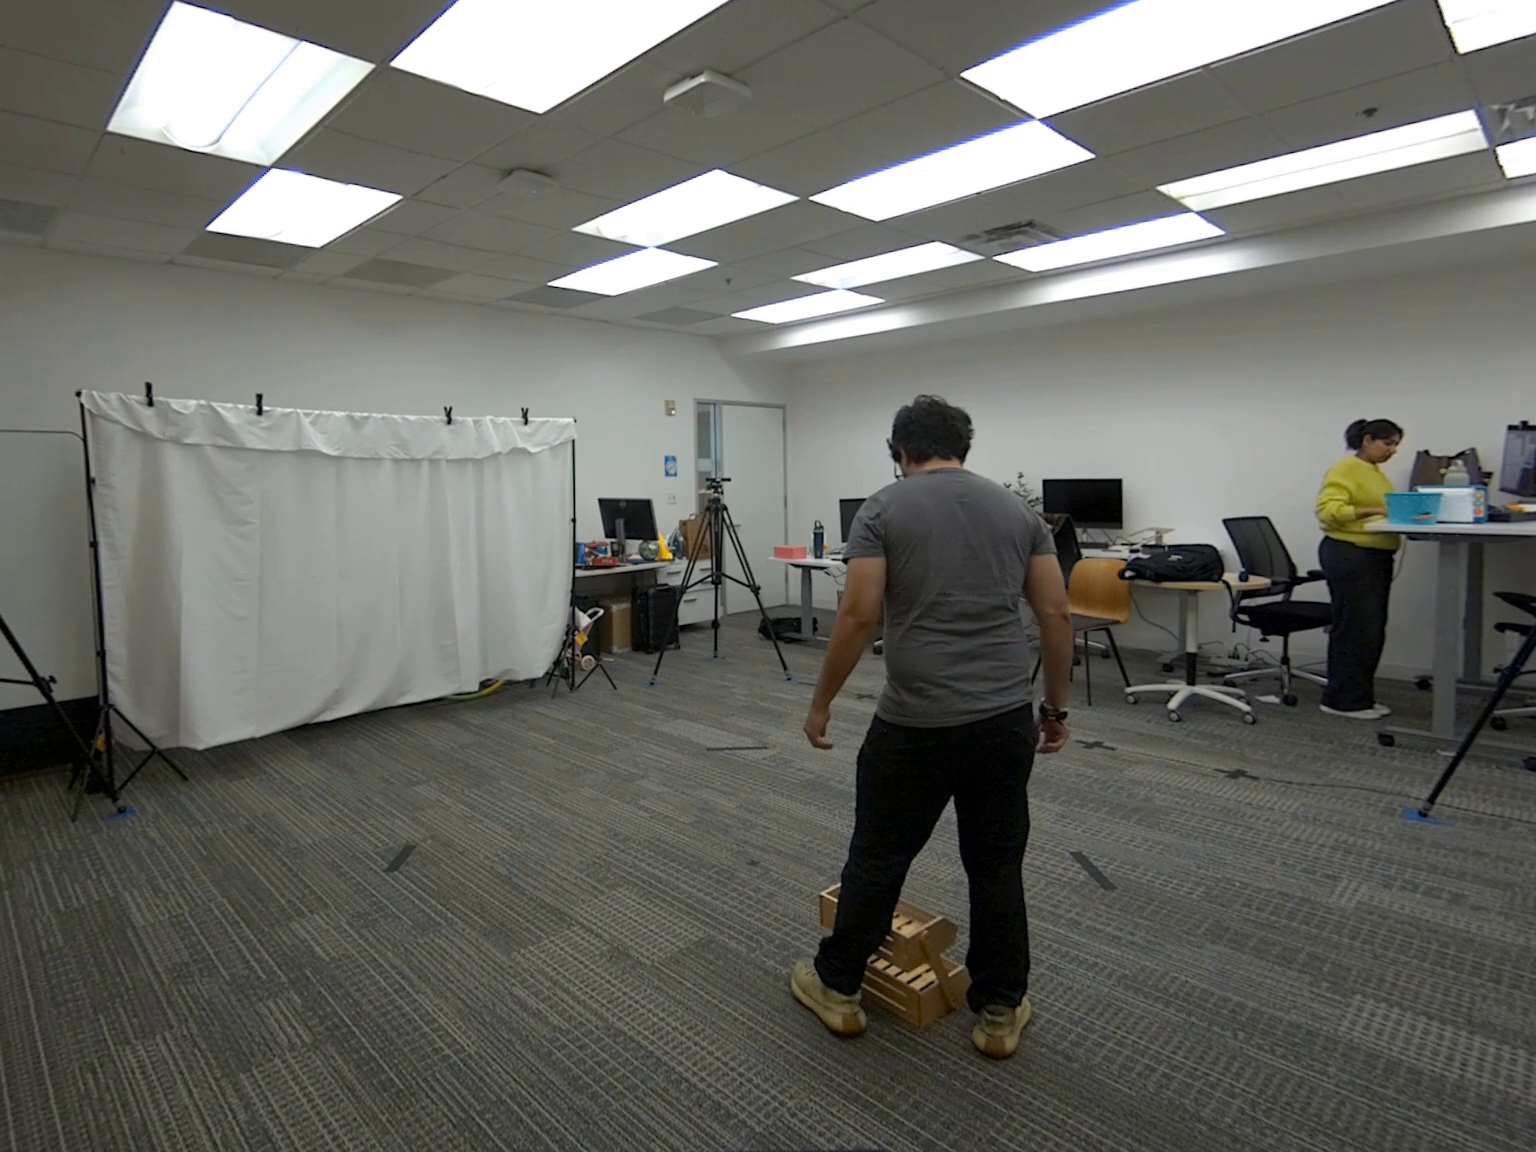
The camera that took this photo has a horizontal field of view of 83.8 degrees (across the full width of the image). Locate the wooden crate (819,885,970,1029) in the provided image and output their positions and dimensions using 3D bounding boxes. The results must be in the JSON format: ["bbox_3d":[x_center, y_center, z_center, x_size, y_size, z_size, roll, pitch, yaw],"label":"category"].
[{"bbox_3d":[0.364,0.991,2.327,0.294,0.272,0.334,-7,8,-41],"label":"wooden crate"}]
